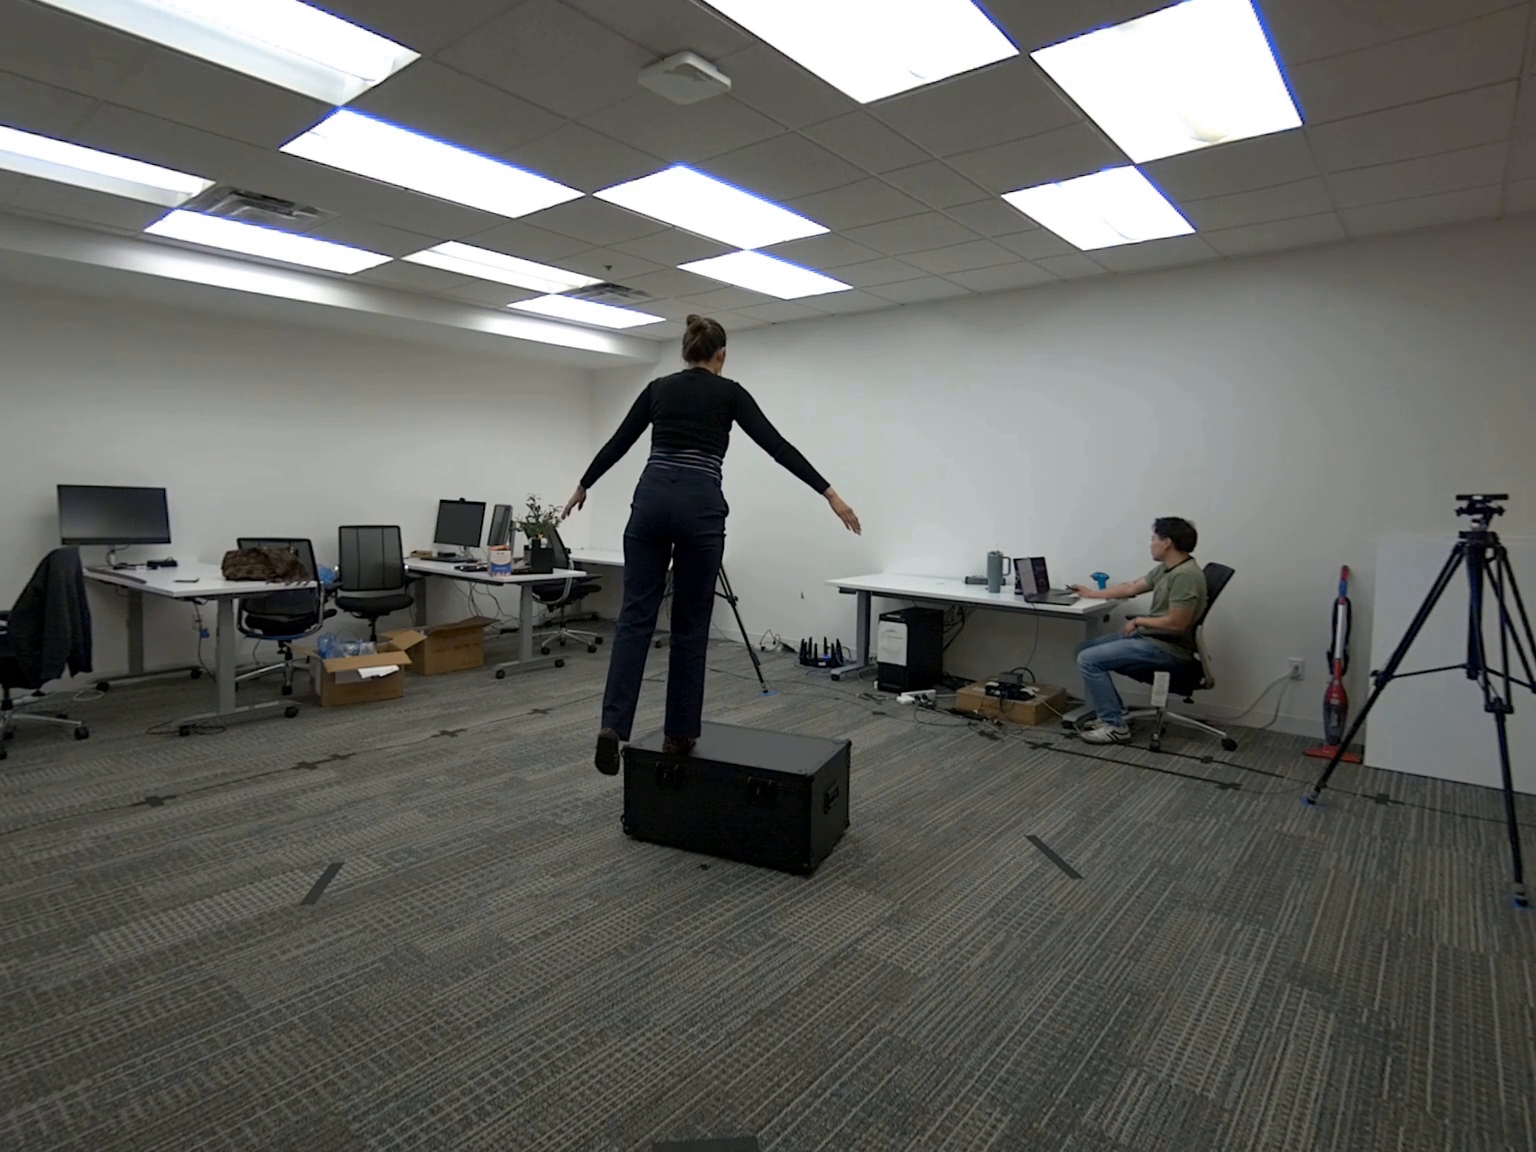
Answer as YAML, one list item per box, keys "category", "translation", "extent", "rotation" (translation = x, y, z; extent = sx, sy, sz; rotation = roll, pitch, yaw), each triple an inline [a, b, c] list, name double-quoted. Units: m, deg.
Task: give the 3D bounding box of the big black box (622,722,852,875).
- category: "big black box"
  translation: [-0.156, 0.846, 3.412]
  extent: [0.883, 0.395, 0.510]
  rotation: [3, 6, 24]
